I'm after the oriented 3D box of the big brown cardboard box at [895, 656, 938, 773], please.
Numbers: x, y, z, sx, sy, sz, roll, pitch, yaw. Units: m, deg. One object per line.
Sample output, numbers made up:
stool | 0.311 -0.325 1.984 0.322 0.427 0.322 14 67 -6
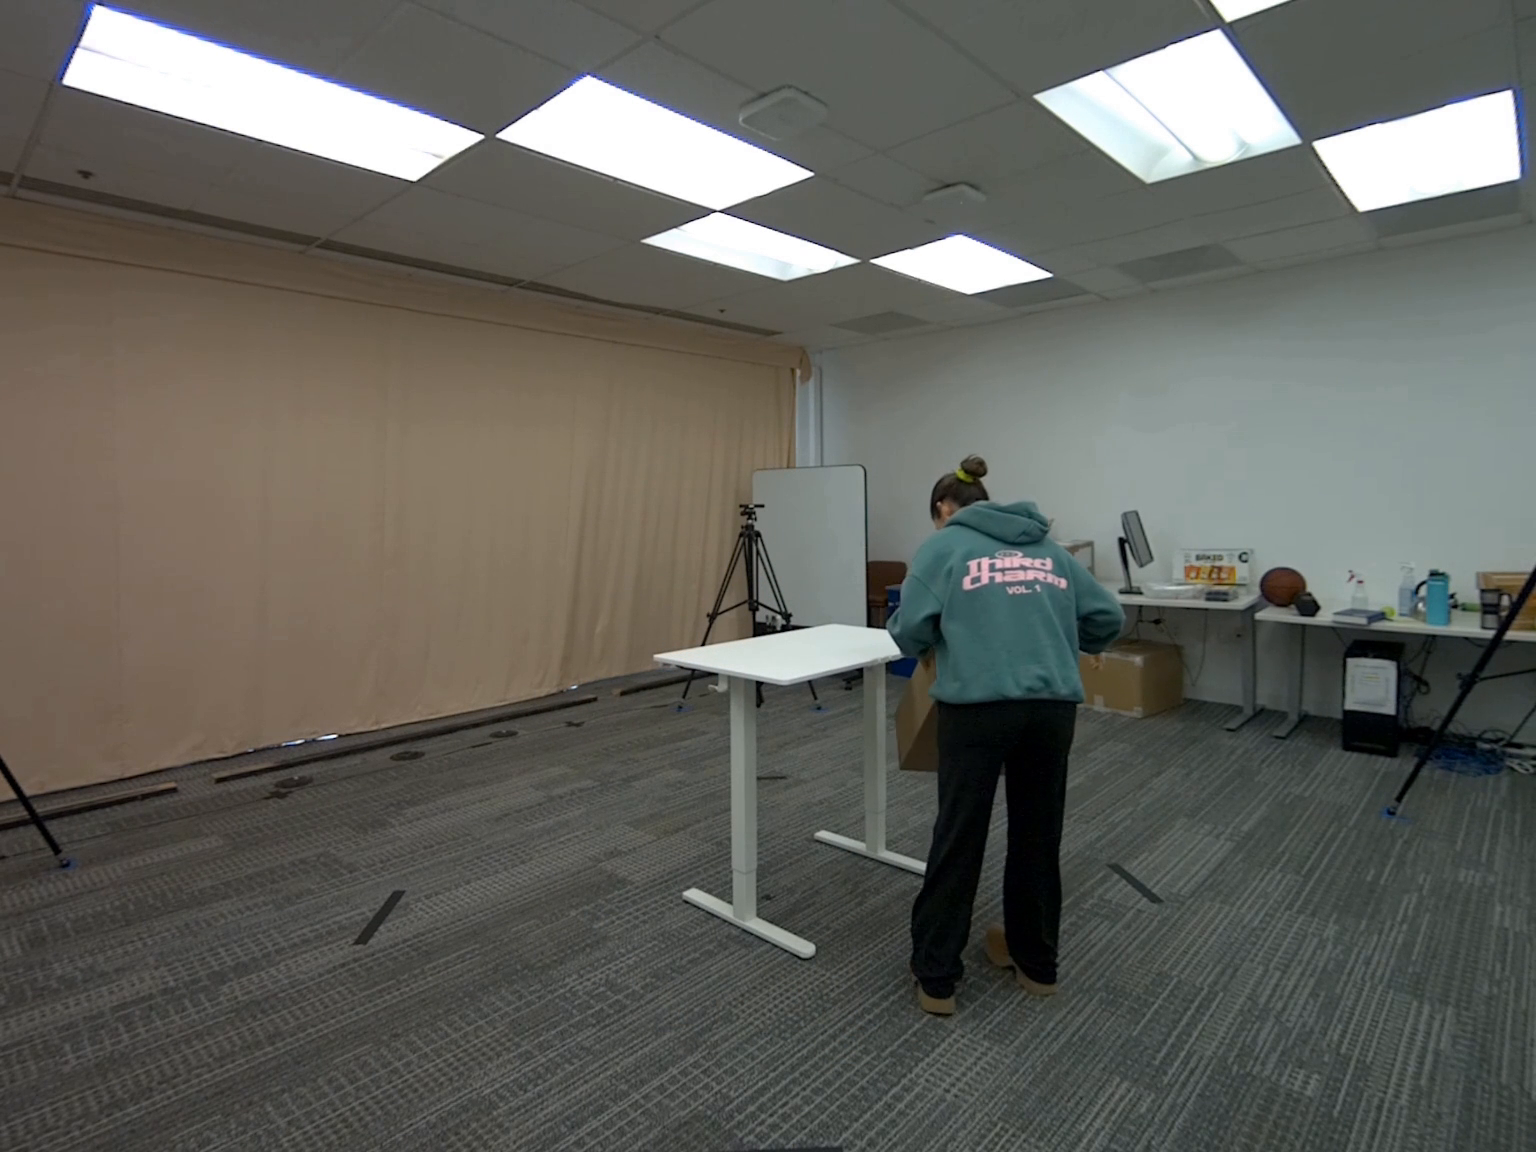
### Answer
big brown cardboard box | 0.692 0.438 2.756 0.417 0.237 0.580 4 -36 -2
